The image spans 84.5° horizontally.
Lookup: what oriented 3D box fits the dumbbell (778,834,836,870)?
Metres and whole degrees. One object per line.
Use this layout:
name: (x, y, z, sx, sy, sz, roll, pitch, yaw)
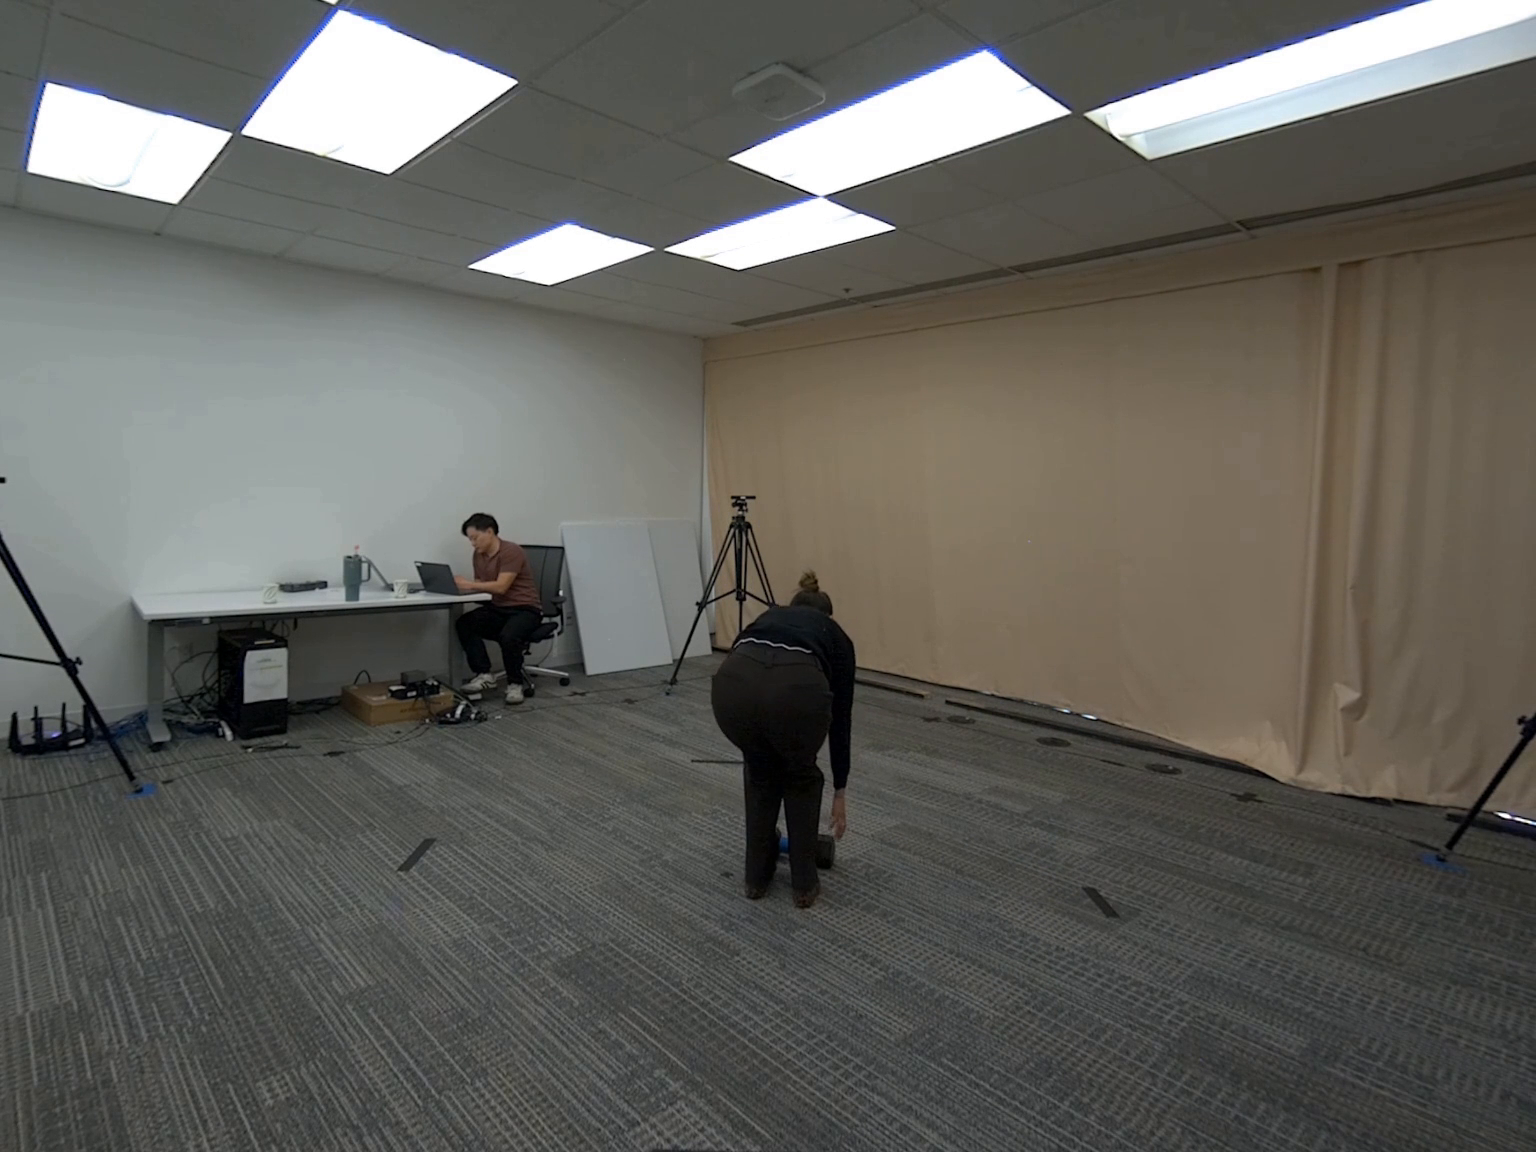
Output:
dumbbell: (0.103, 1.045, 3.231, 0.297, 0.120, 0.110, 2, 34, 17)
